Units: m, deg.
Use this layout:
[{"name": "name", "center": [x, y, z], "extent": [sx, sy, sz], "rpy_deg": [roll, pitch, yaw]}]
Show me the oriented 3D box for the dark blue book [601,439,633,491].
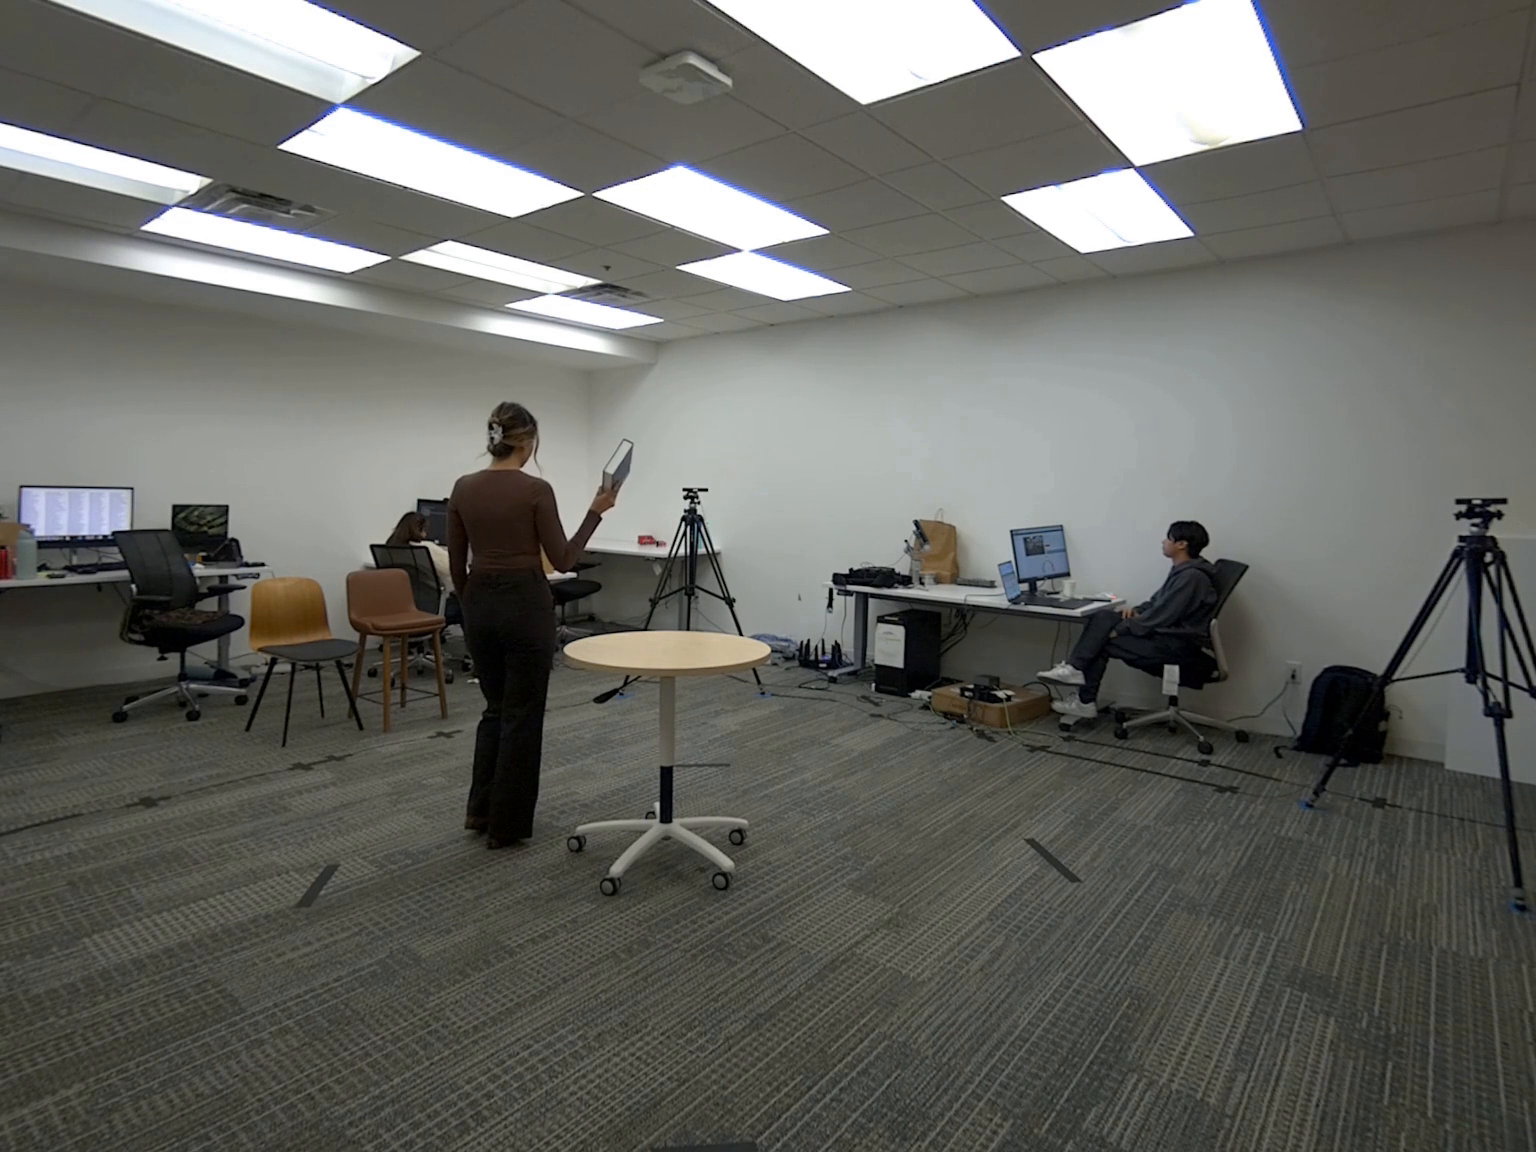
[{"name": "dark blue book", "center": [-0.605, -0.413, 3.334], "extent": [0.045, 0.165, 0.242], "rpy_deg": [25, -24, 0]}]
